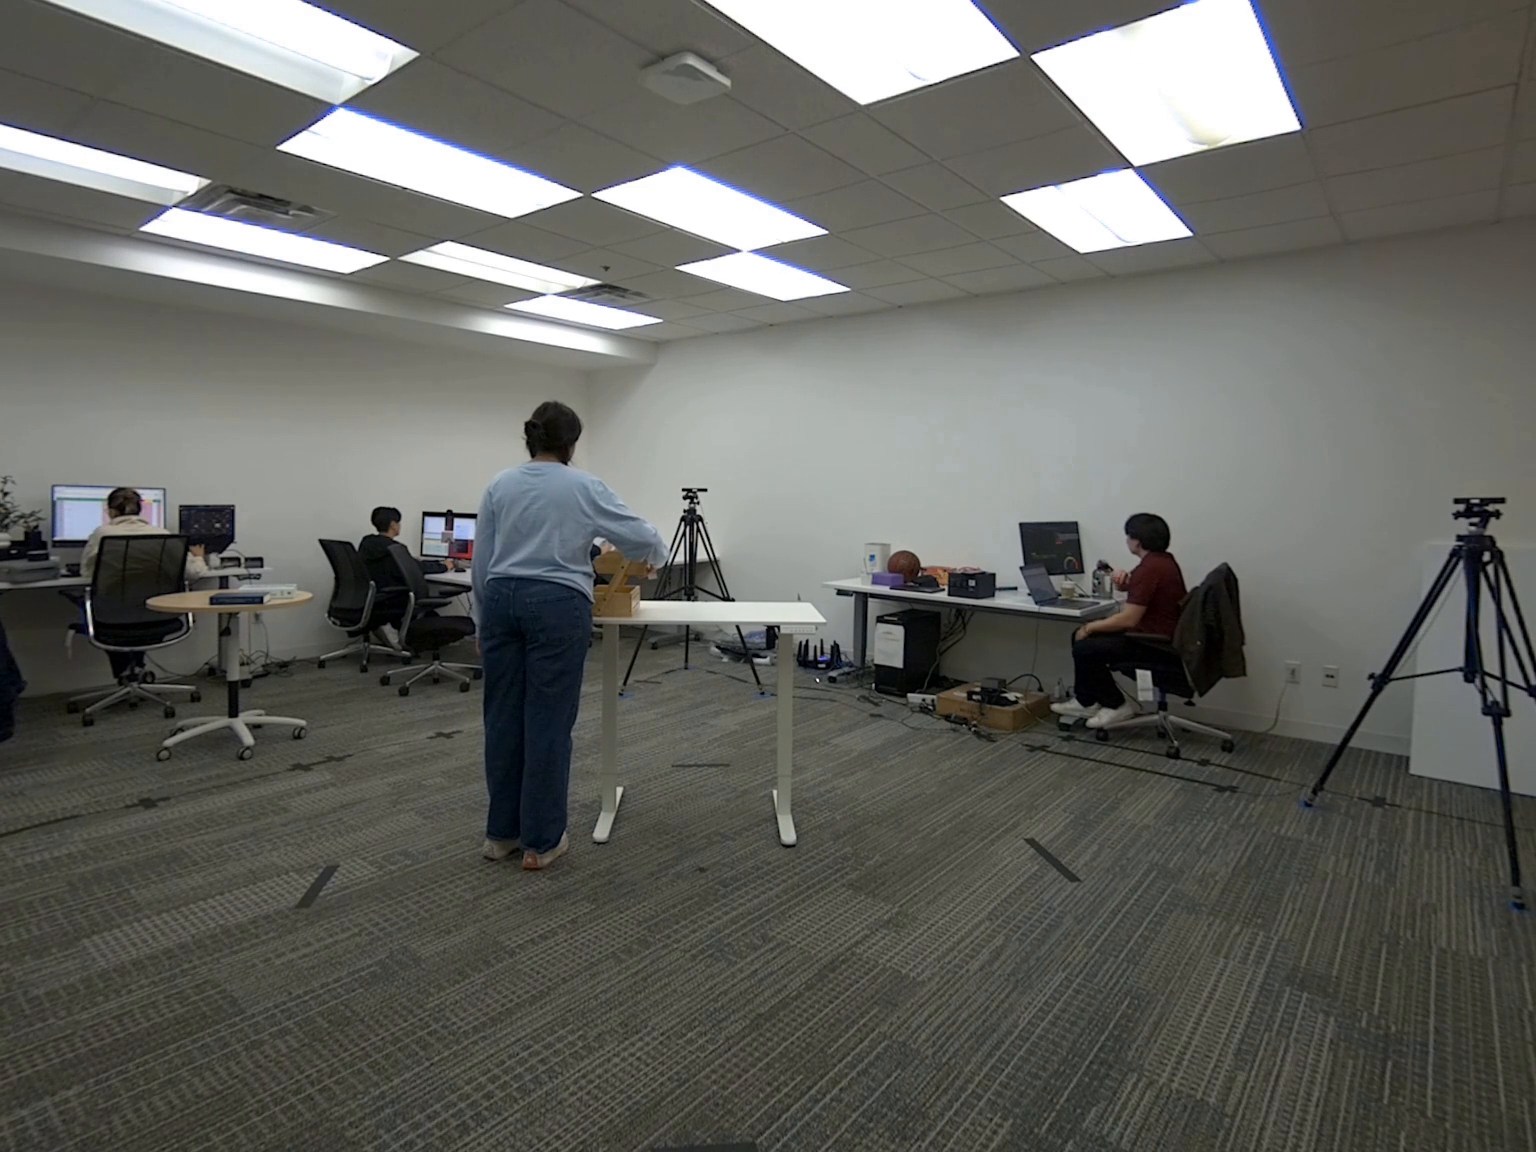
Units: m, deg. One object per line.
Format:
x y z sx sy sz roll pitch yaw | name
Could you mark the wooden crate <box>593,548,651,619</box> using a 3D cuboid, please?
-0.655 0.018 3.509 0.302 0.273 0.325 1 2 -1 | wooden crate
